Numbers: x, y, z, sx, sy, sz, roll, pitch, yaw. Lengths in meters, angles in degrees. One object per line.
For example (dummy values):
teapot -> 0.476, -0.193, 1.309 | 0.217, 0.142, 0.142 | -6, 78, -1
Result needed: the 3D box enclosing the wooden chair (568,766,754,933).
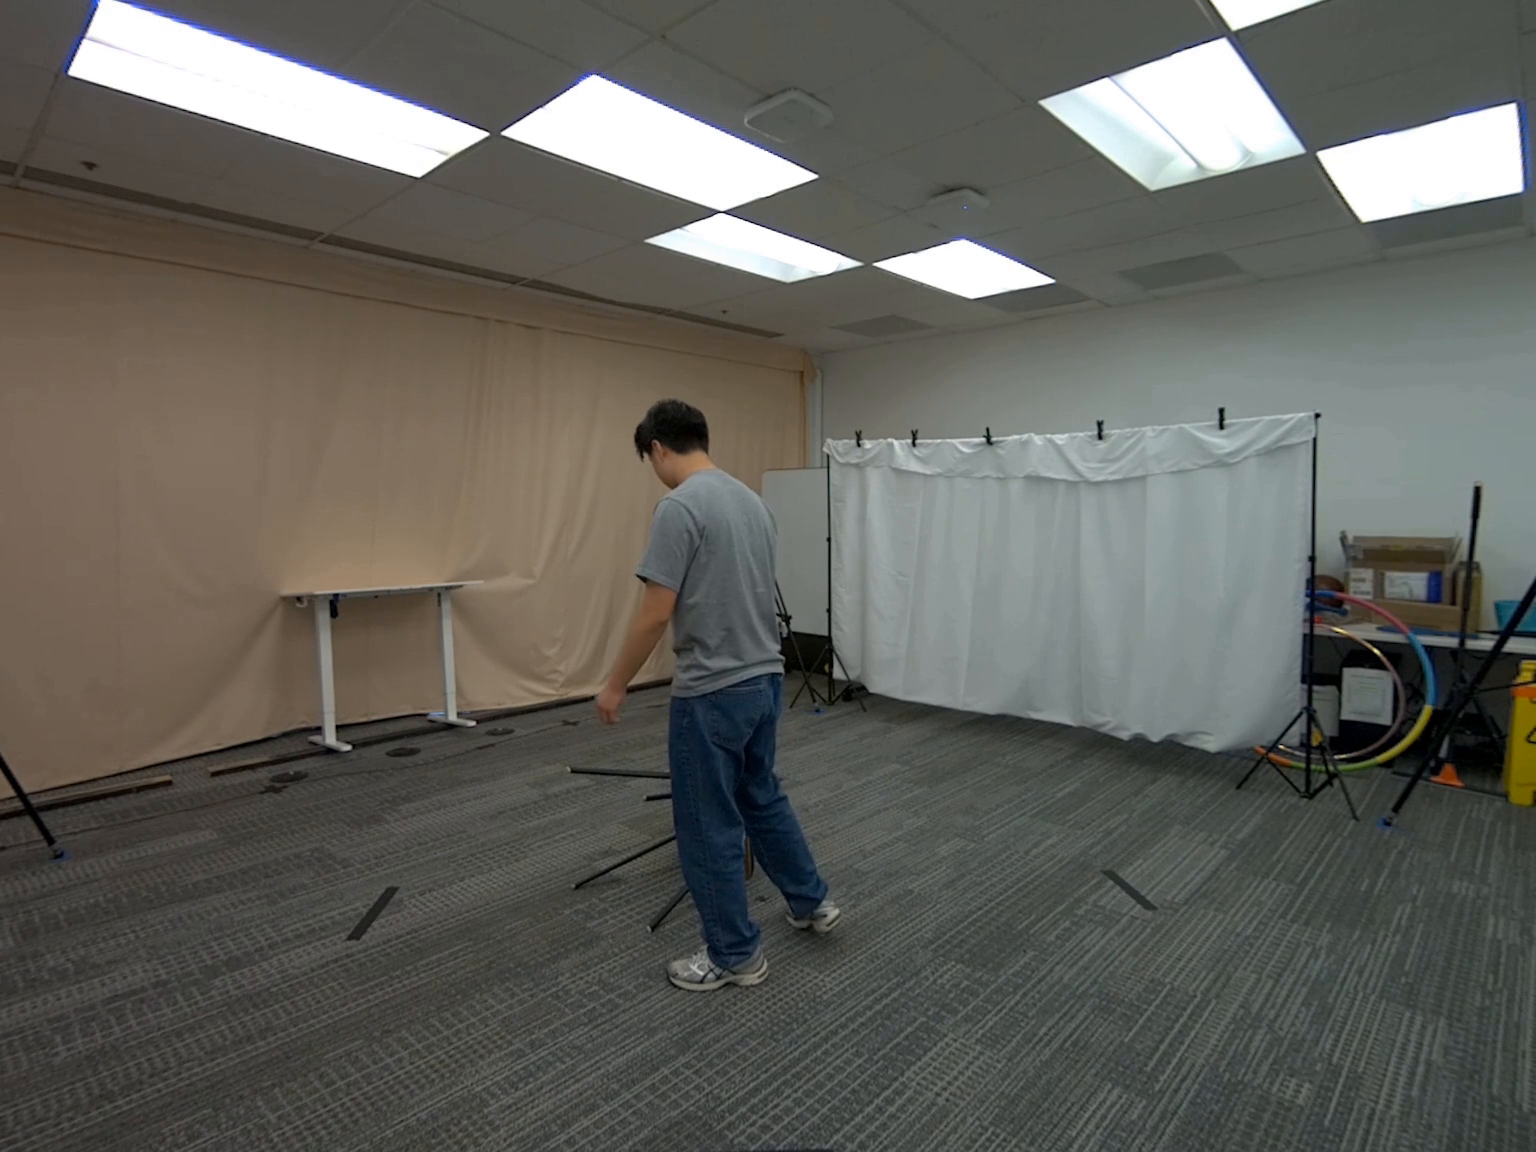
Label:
wooden chair -> -0.267, 0.899, 3.180 | 0.540, 0.477, 0.851 | 2, 6, 40
